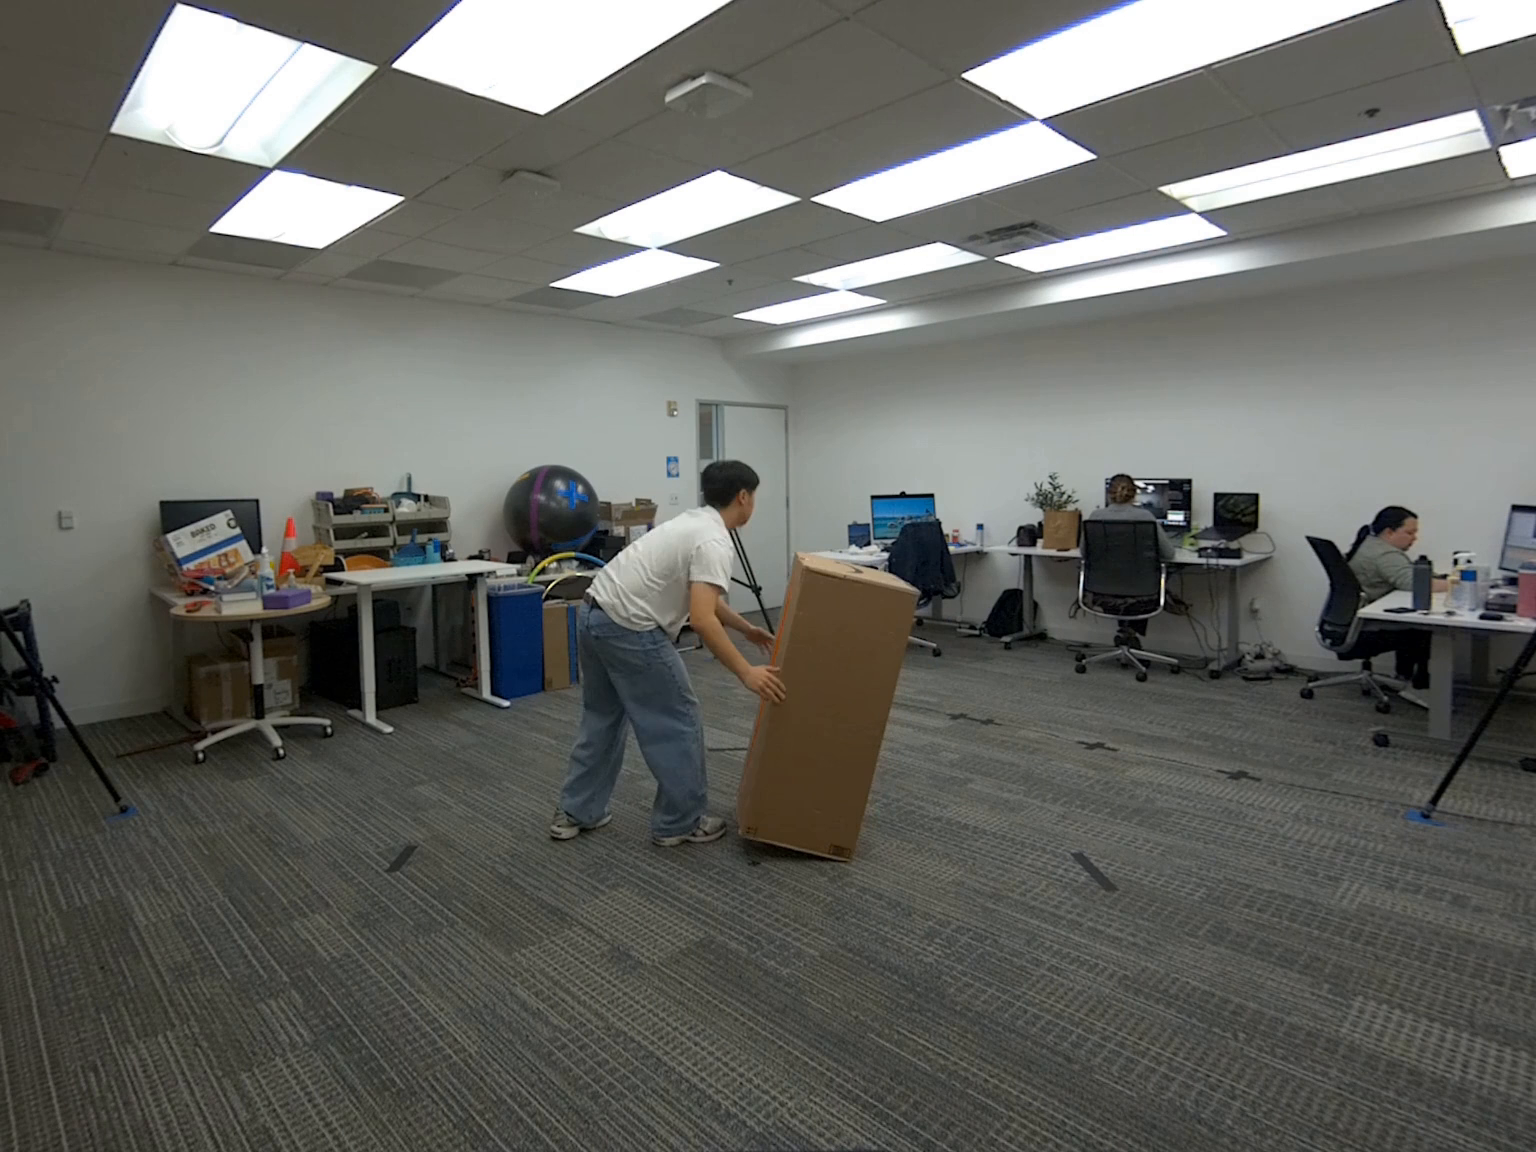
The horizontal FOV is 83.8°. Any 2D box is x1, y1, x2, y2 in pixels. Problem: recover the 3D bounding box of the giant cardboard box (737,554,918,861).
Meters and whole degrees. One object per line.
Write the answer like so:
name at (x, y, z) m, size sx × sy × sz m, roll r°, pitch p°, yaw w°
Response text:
giant cardboard box at (0.209, 0.471, 3.346) m, size 0.426 × 1.023 × 0.579 m, roll 13°, pitch 5°, yaw -1°
